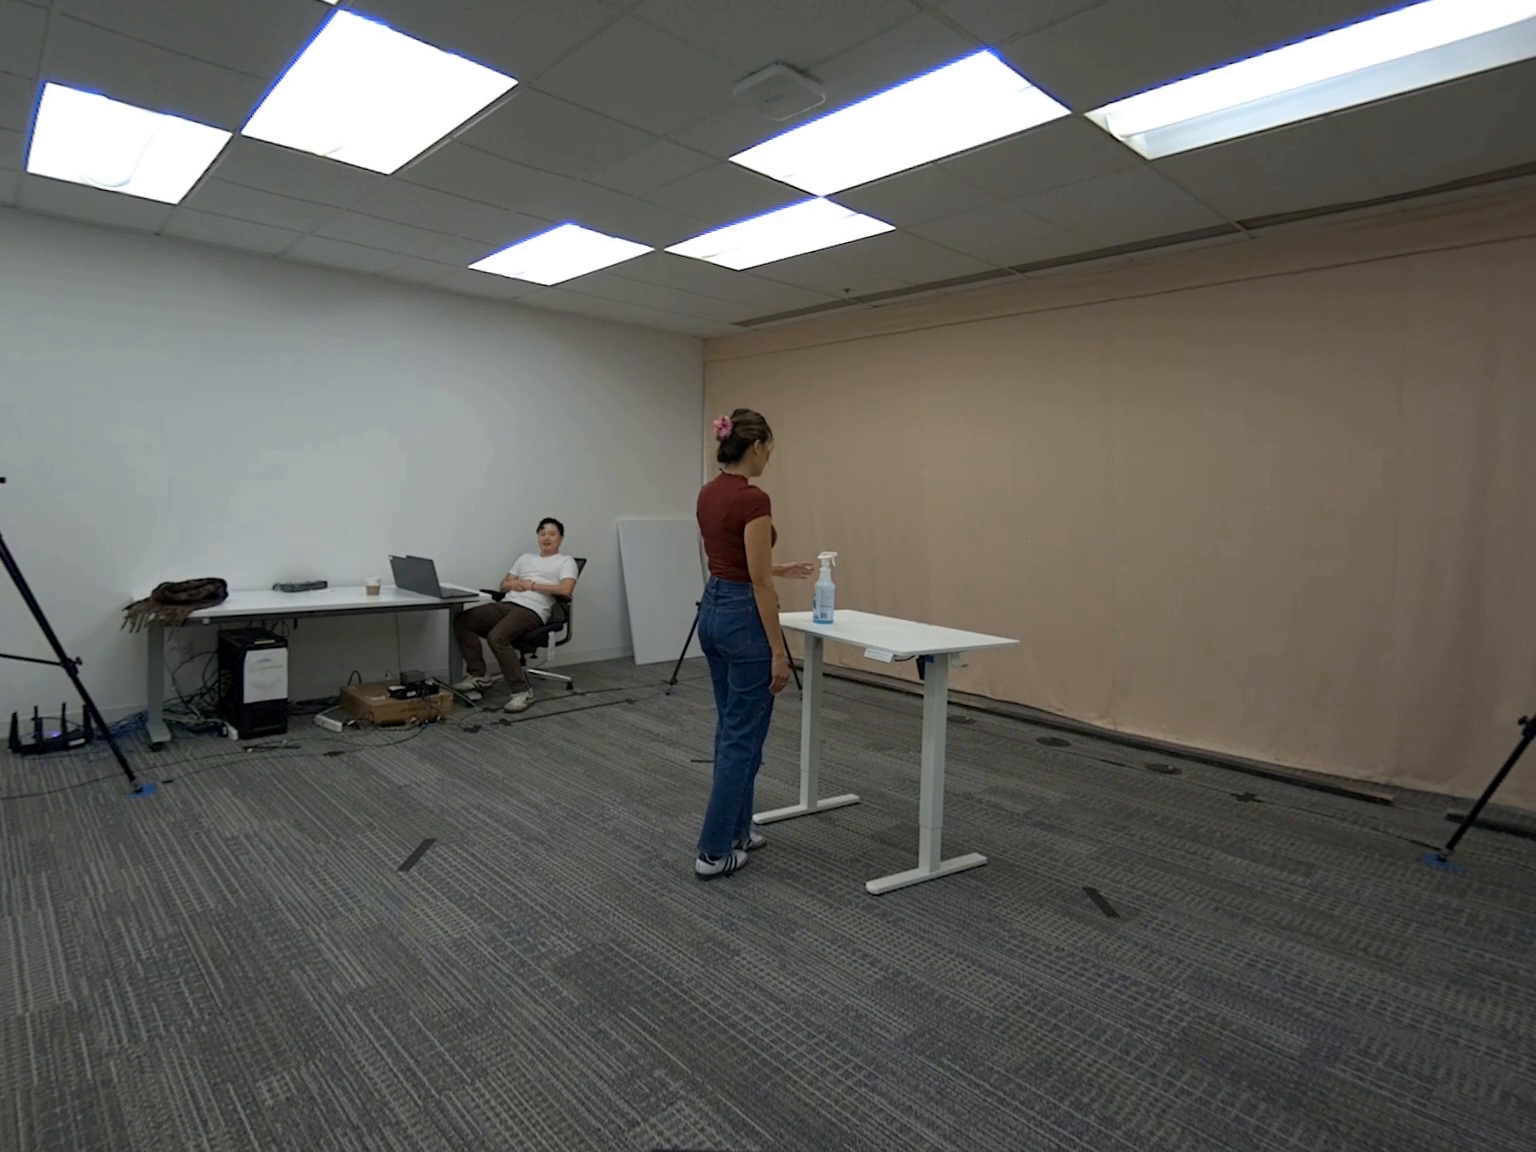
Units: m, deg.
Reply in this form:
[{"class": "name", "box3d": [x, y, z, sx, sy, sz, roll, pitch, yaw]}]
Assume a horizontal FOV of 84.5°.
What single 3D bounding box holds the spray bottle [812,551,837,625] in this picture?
[{"class": "spray bottle", "box3d": [0.230, 0.051, 3.501, 0.085, 0.297, 0.092, 1, 2, -23]}]
